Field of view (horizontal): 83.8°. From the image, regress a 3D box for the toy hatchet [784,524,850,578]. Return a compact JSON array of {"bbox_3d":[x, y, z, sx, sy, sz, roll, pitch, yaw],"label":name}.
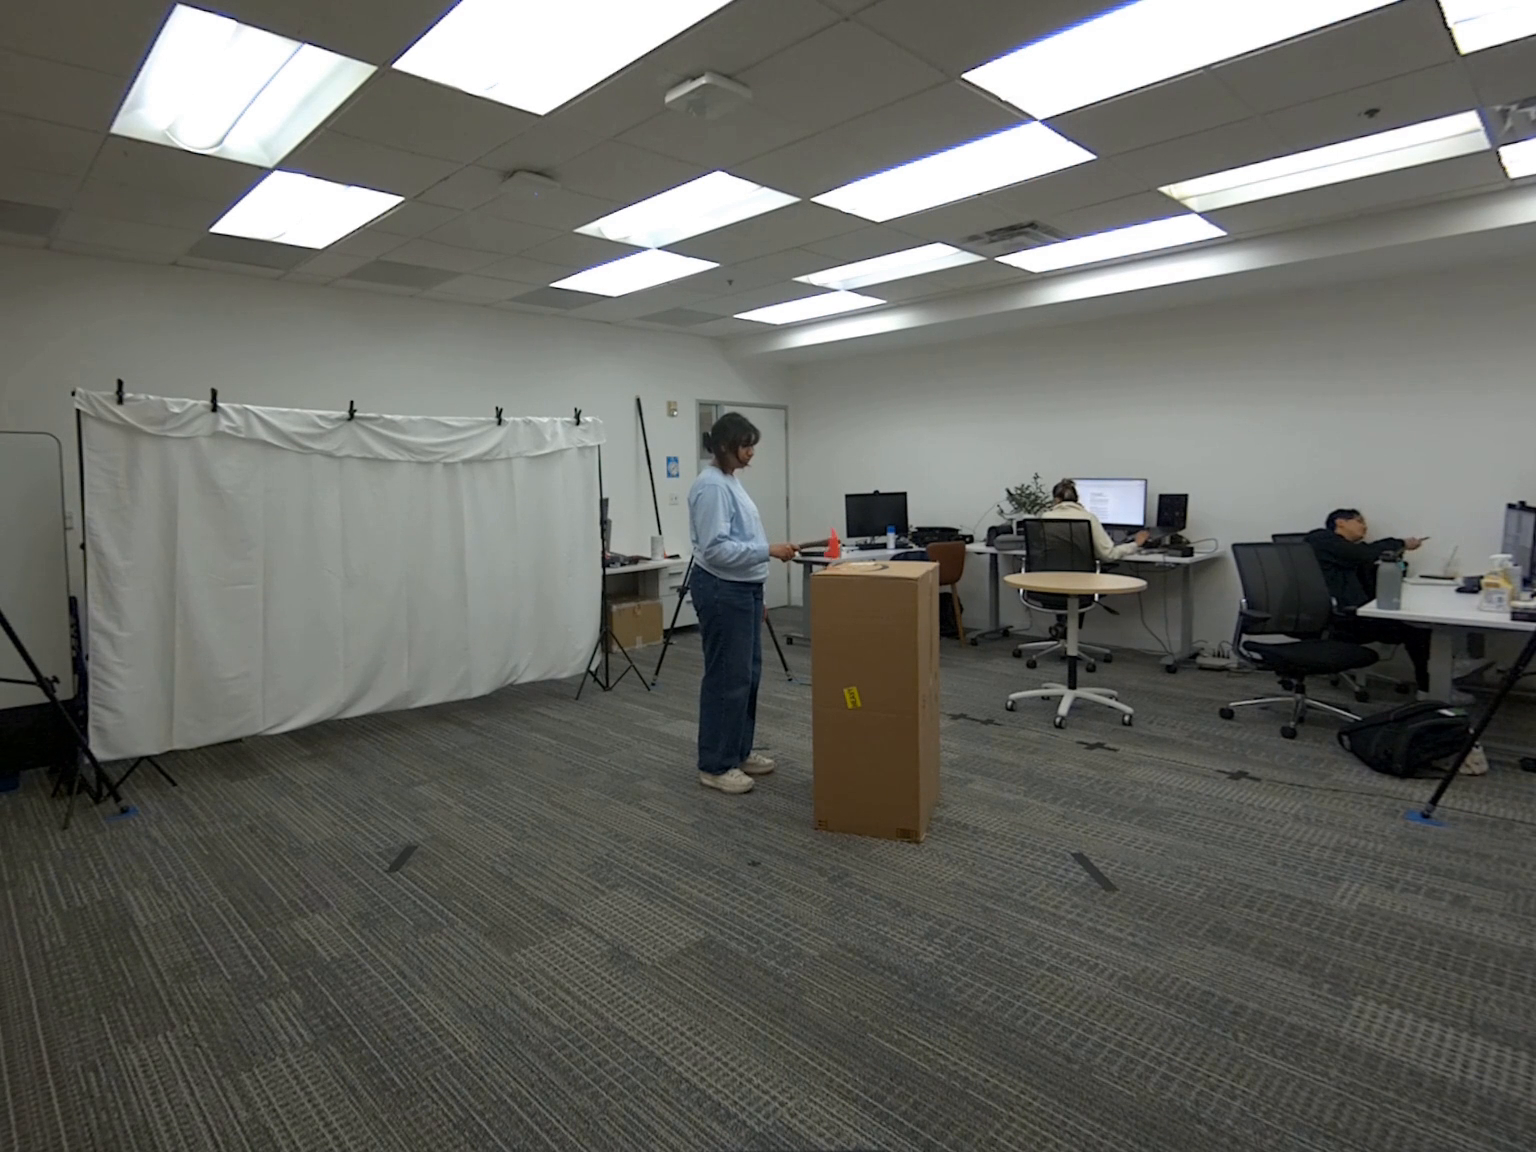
[{"bbox_3d":[0.195,-0.110,3.684,0.270,0.131,0.029,-22,-1,2],"label":"toy hatchet"}]
